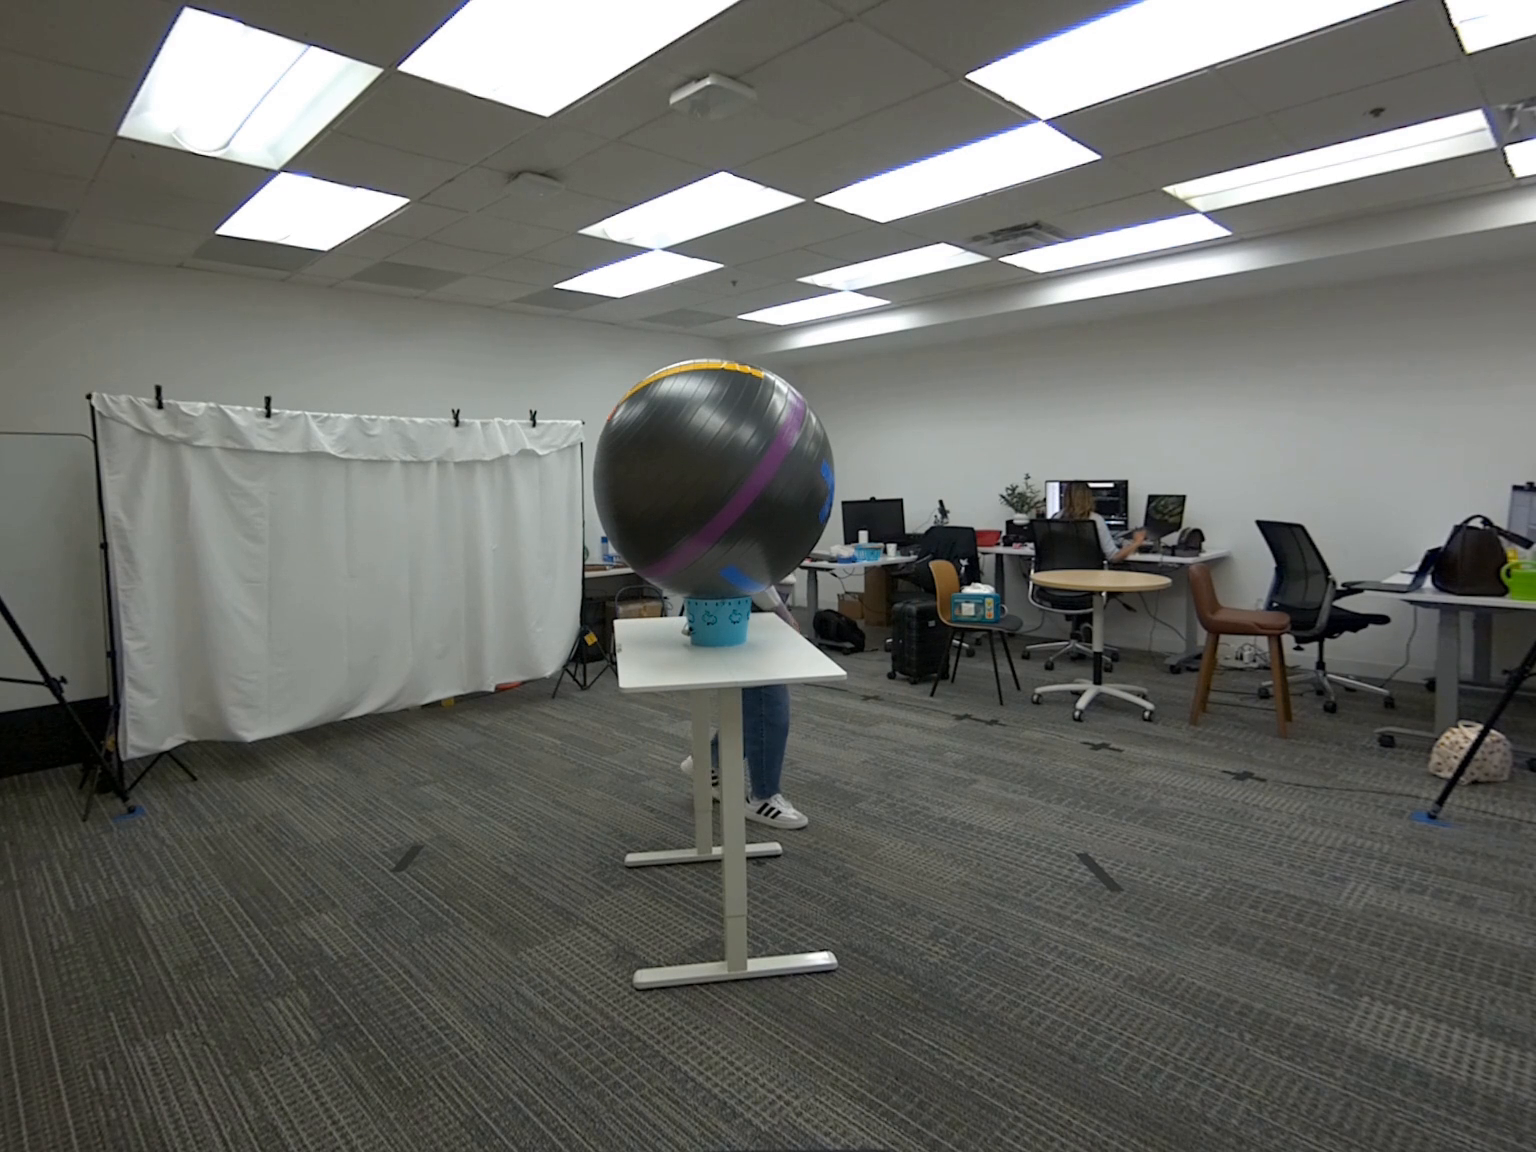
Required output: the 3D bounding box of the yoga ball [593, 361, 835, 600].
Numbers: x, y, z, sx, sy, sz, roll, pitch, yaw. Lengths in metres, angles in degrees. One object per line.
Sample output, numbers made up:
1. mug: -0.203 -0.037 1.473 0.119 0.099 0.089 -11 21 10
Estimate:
1. yoga ball: -0.175 -0.298 2.688 0.757 0.755 0.762 -1 5 -2
